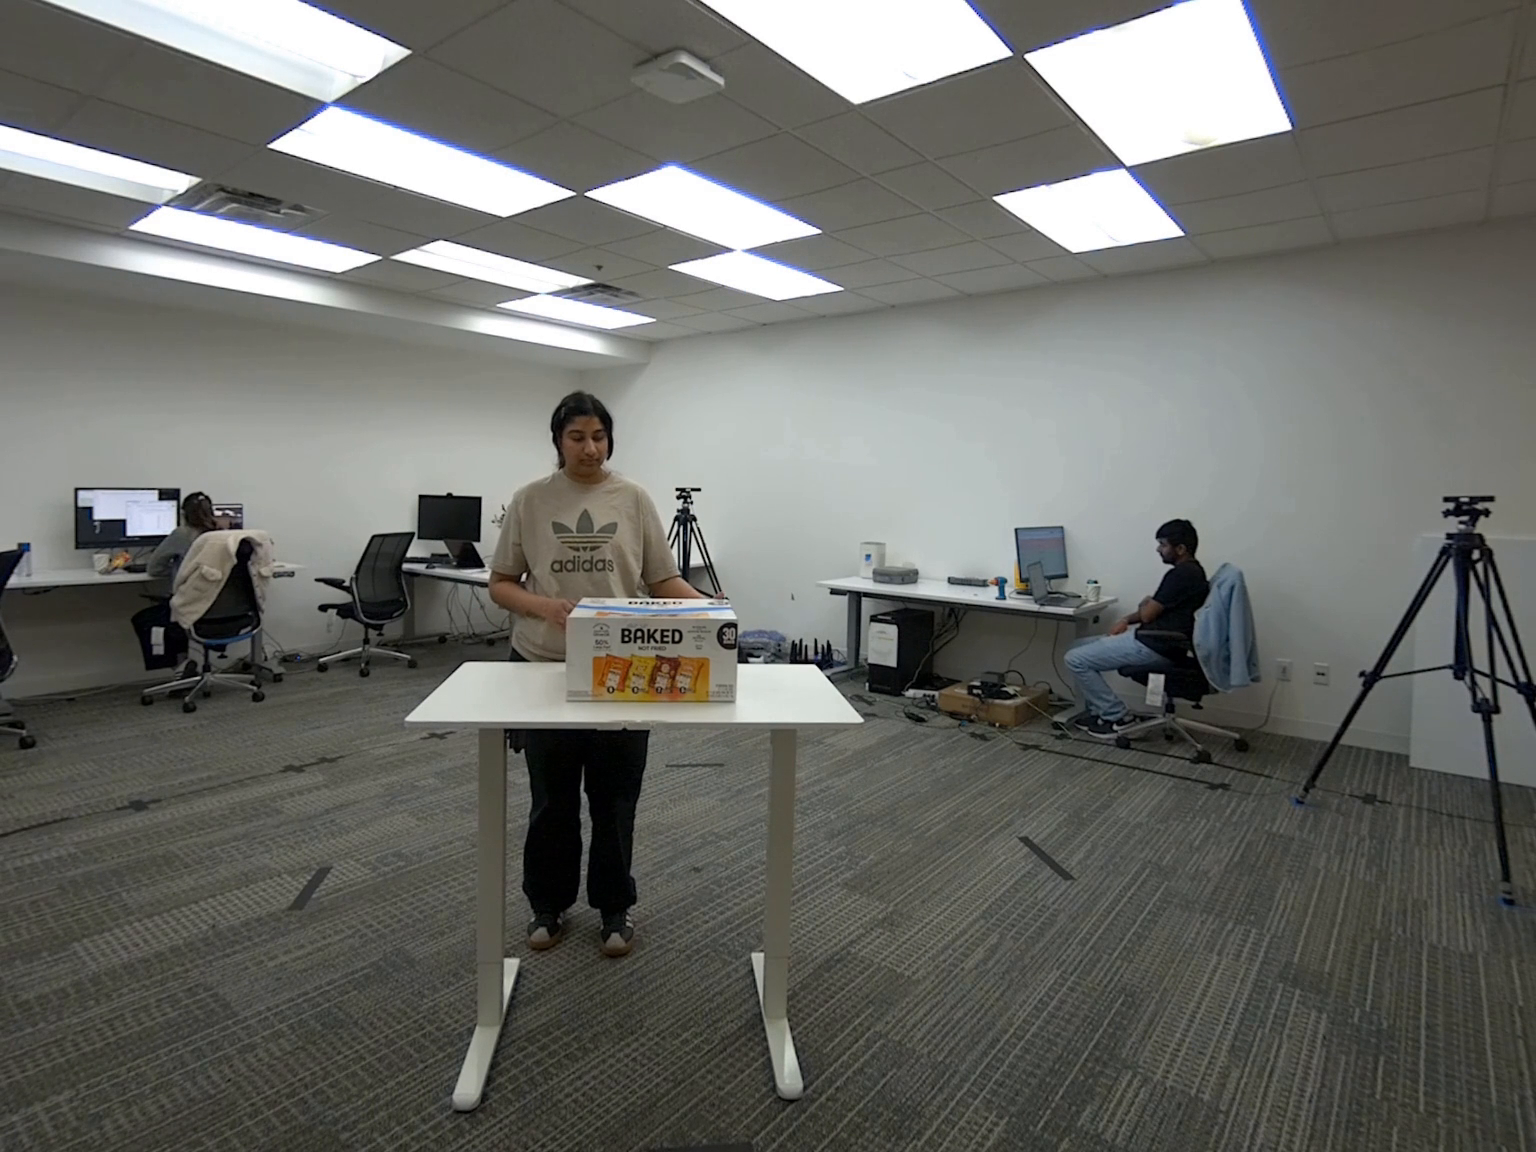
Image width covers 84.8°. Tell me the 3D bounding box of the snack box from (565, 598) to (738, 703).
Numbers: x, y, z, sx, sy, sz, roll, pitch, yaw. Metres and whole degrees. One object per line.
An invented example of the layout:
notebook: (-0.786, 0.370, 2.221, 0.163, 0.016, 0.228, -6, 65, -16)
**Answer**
snack box: (-0.301, 0.179, 2.178, 0.403, 0.205, 0.344, 1, 6, -6)
